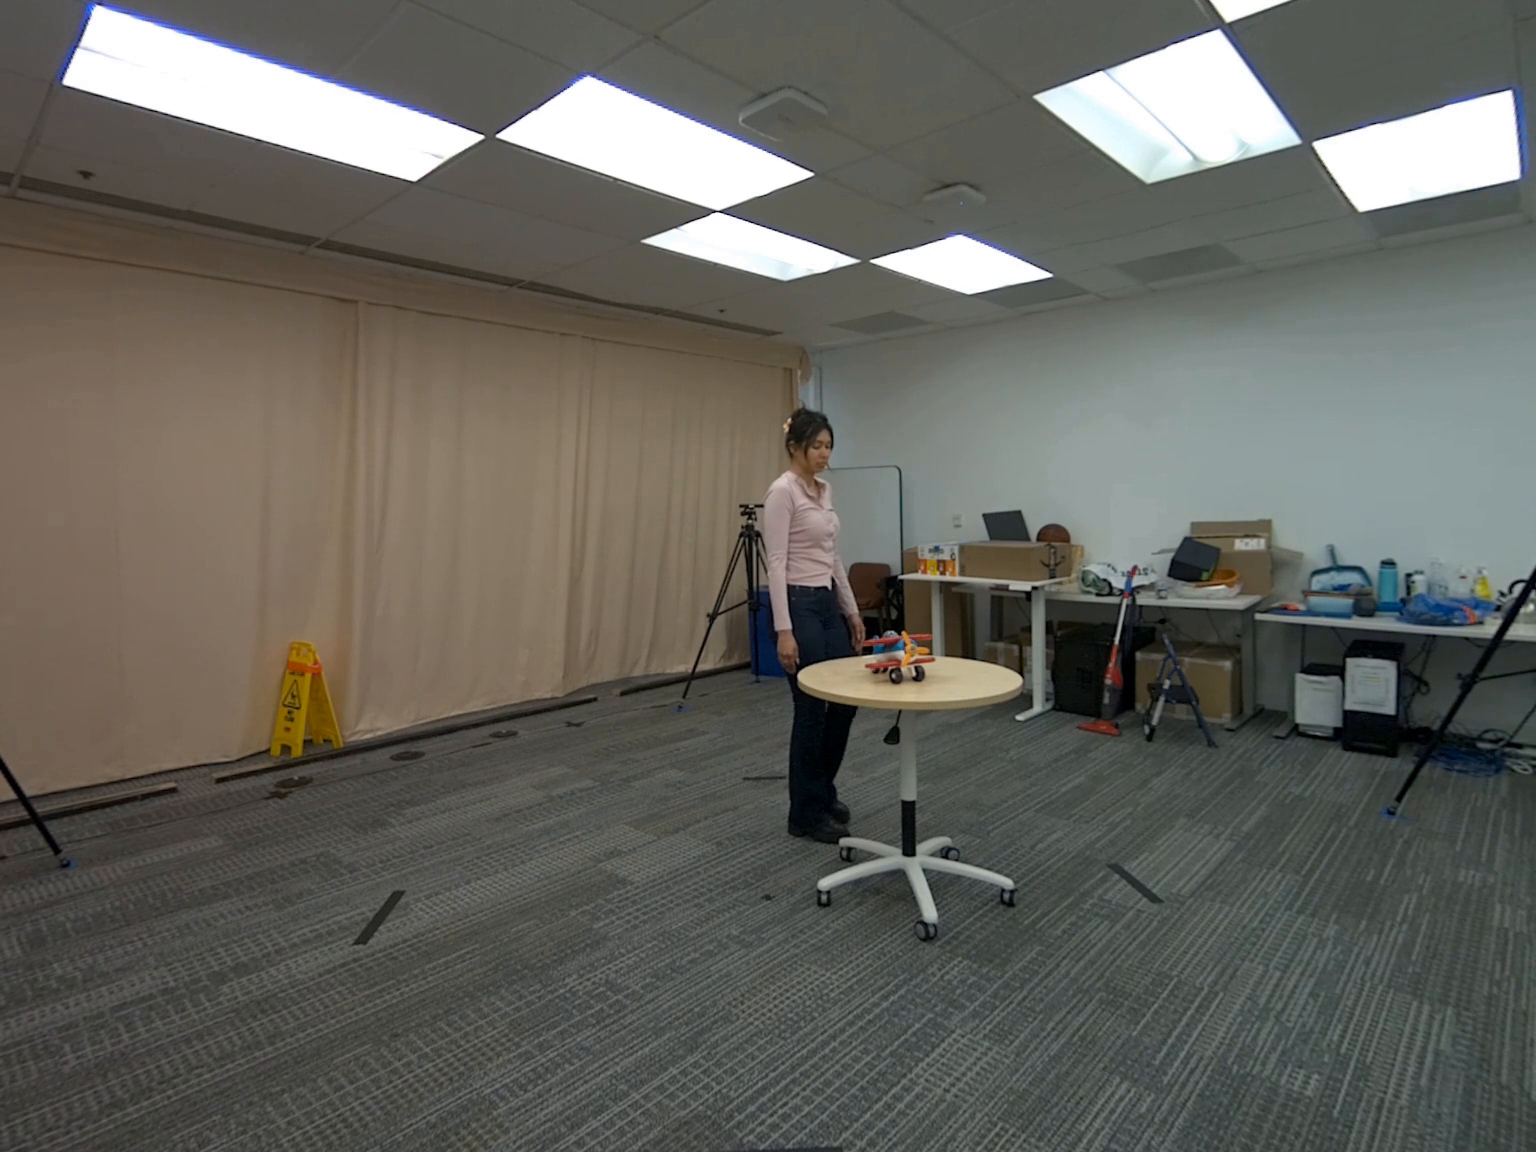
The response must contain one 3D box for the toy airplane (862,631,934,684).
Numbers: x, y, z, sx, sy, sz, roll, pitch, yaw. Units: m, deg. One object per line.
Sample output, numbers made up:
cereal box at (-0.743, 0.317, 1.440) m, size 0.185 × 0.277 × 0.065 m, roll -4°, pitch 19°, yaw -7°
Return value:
toy airplane at (0.416, 0.277, 2.920) m, size 0.268 × 0.156 × 0.243 m, roll 3°, pitch 7°, yaw 43°
